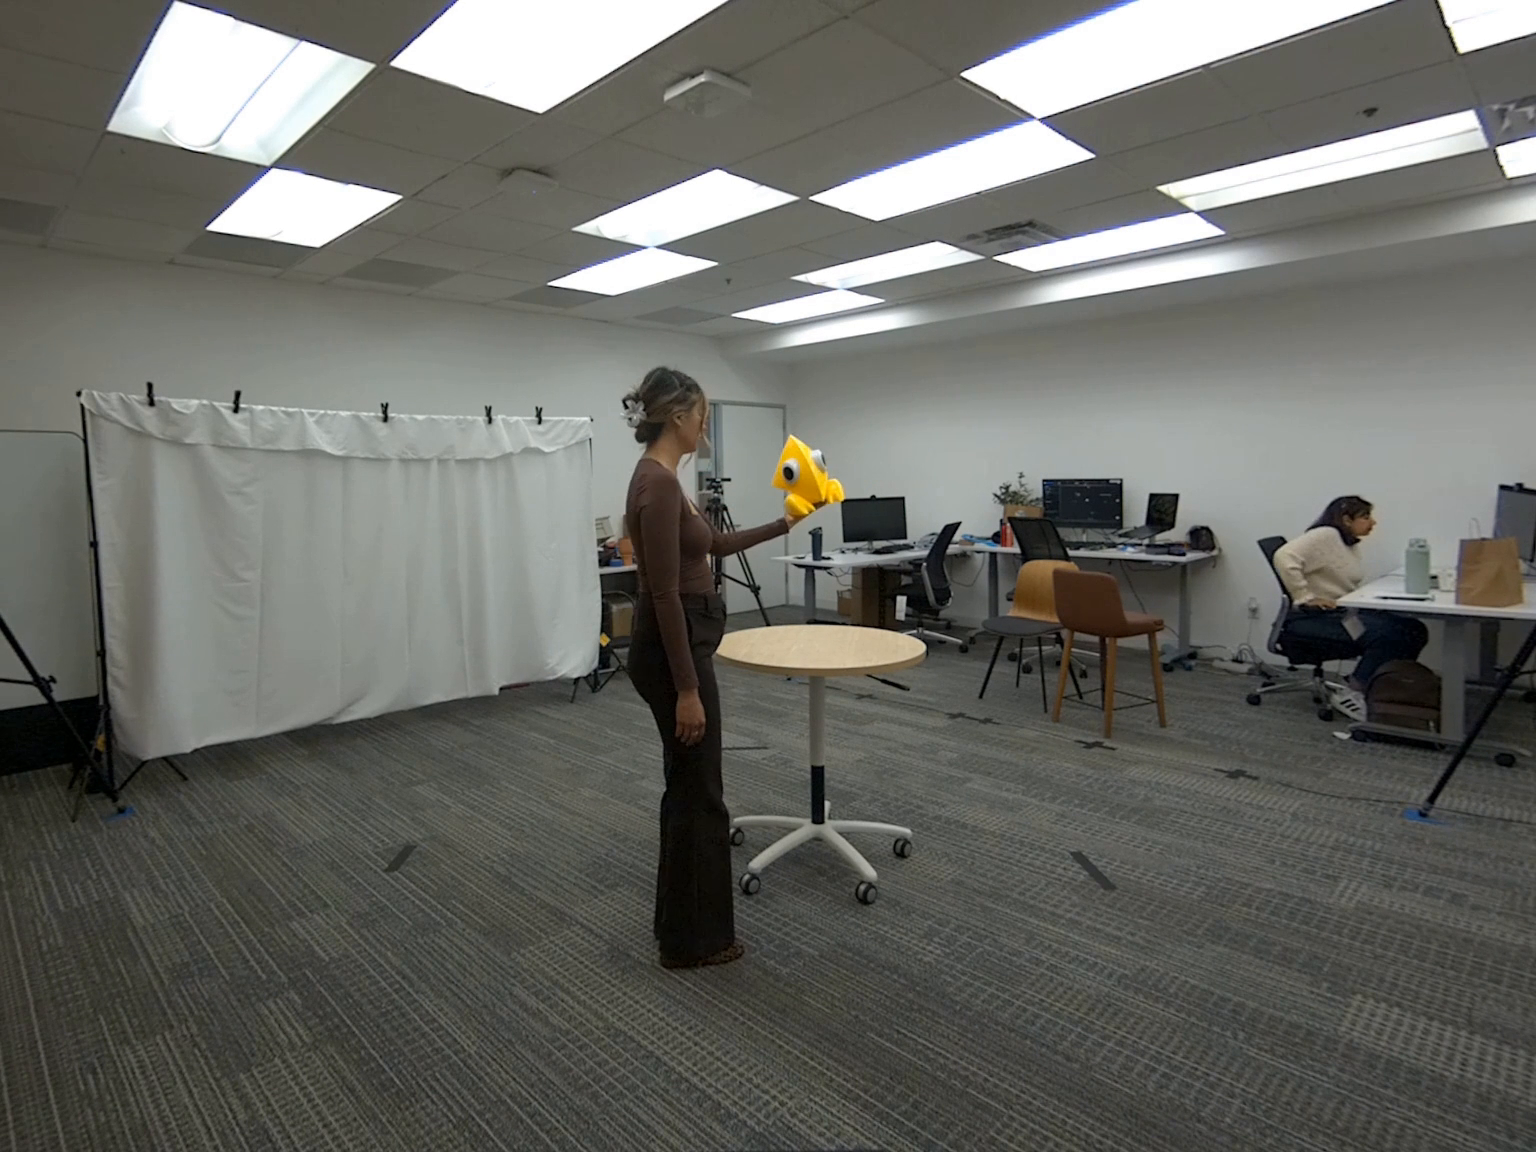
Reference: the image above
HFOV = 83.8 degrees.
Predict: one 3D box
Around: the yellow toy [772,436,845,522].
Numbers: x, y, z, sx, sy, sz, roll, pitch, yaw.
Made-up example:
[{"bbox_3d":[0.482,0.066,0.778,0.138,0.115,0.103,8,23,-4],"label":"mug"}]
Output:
[{"bbox_3d":[0.129,-0.347,2.824,0.203,0.226,0.199,-20,20,-14],"label":"yellow toy"}]
